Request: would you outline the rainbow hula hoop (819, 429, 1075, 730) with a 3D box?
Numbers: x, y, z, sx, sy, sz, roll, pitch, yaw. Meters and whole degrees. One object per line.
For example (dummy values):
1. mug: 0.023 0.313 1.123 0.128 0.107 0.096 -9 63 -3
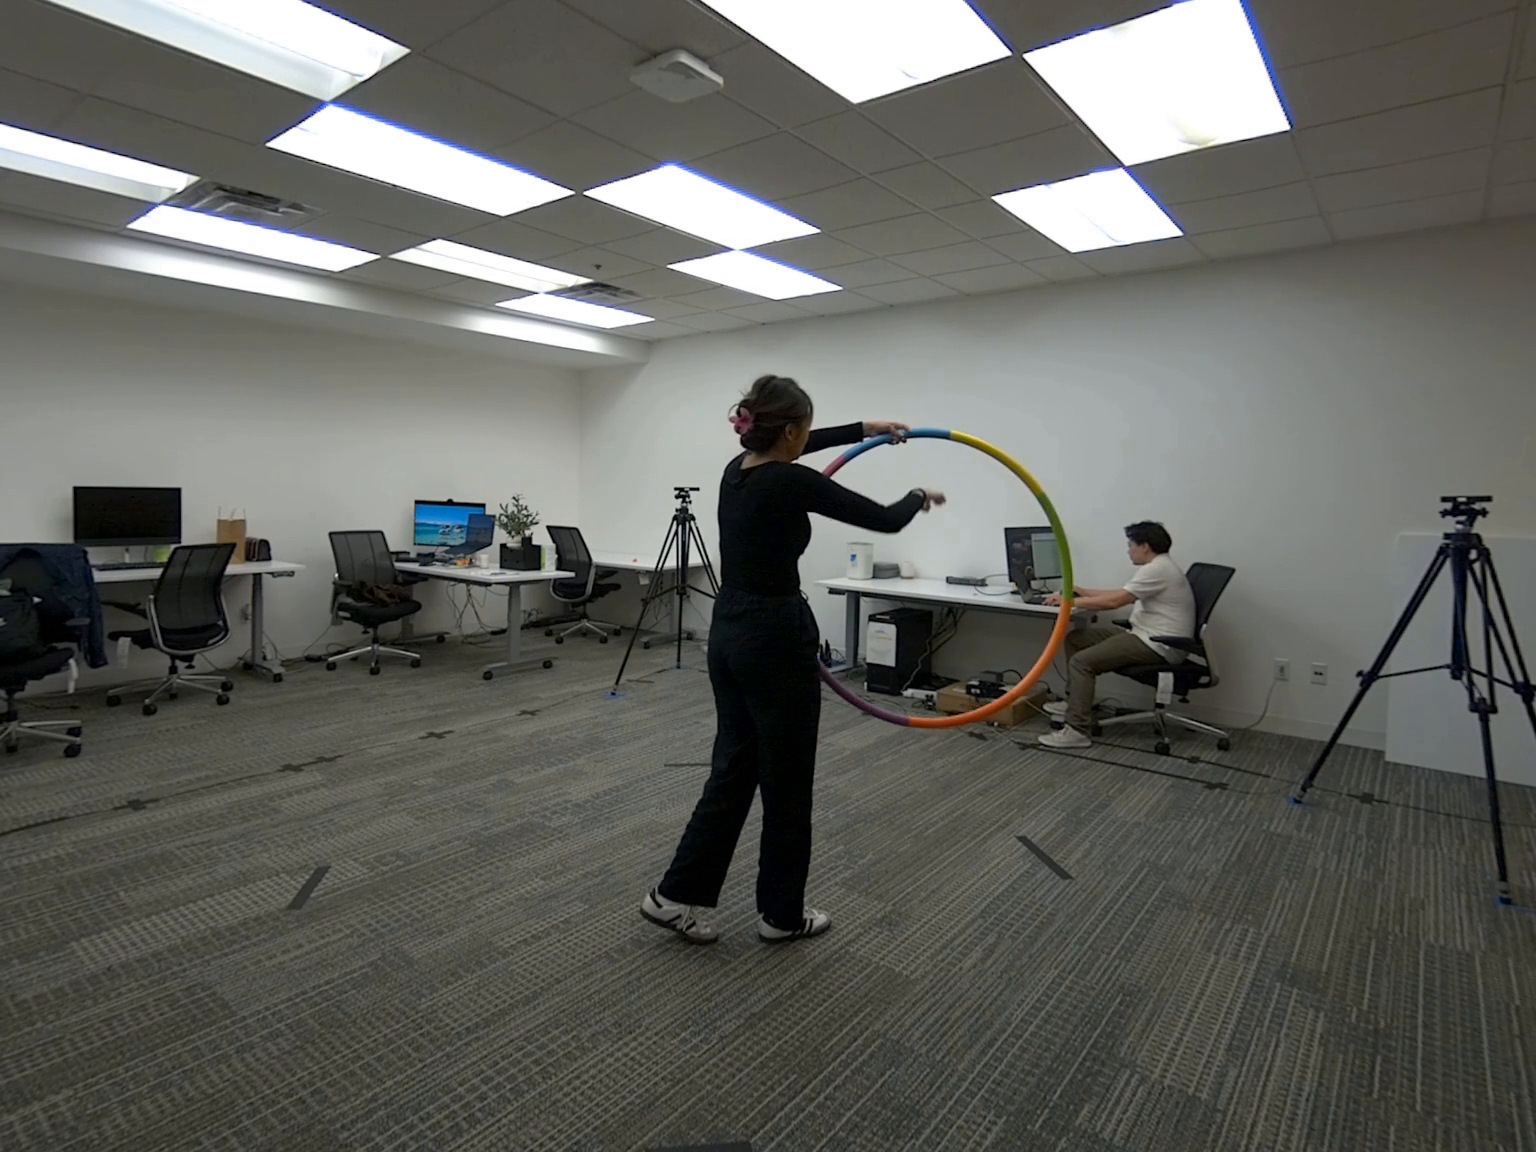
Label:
1. rainbow hula hoop: 0.512 -0.004 2.812 0.984 0.990 0.051 0 -5 -1
